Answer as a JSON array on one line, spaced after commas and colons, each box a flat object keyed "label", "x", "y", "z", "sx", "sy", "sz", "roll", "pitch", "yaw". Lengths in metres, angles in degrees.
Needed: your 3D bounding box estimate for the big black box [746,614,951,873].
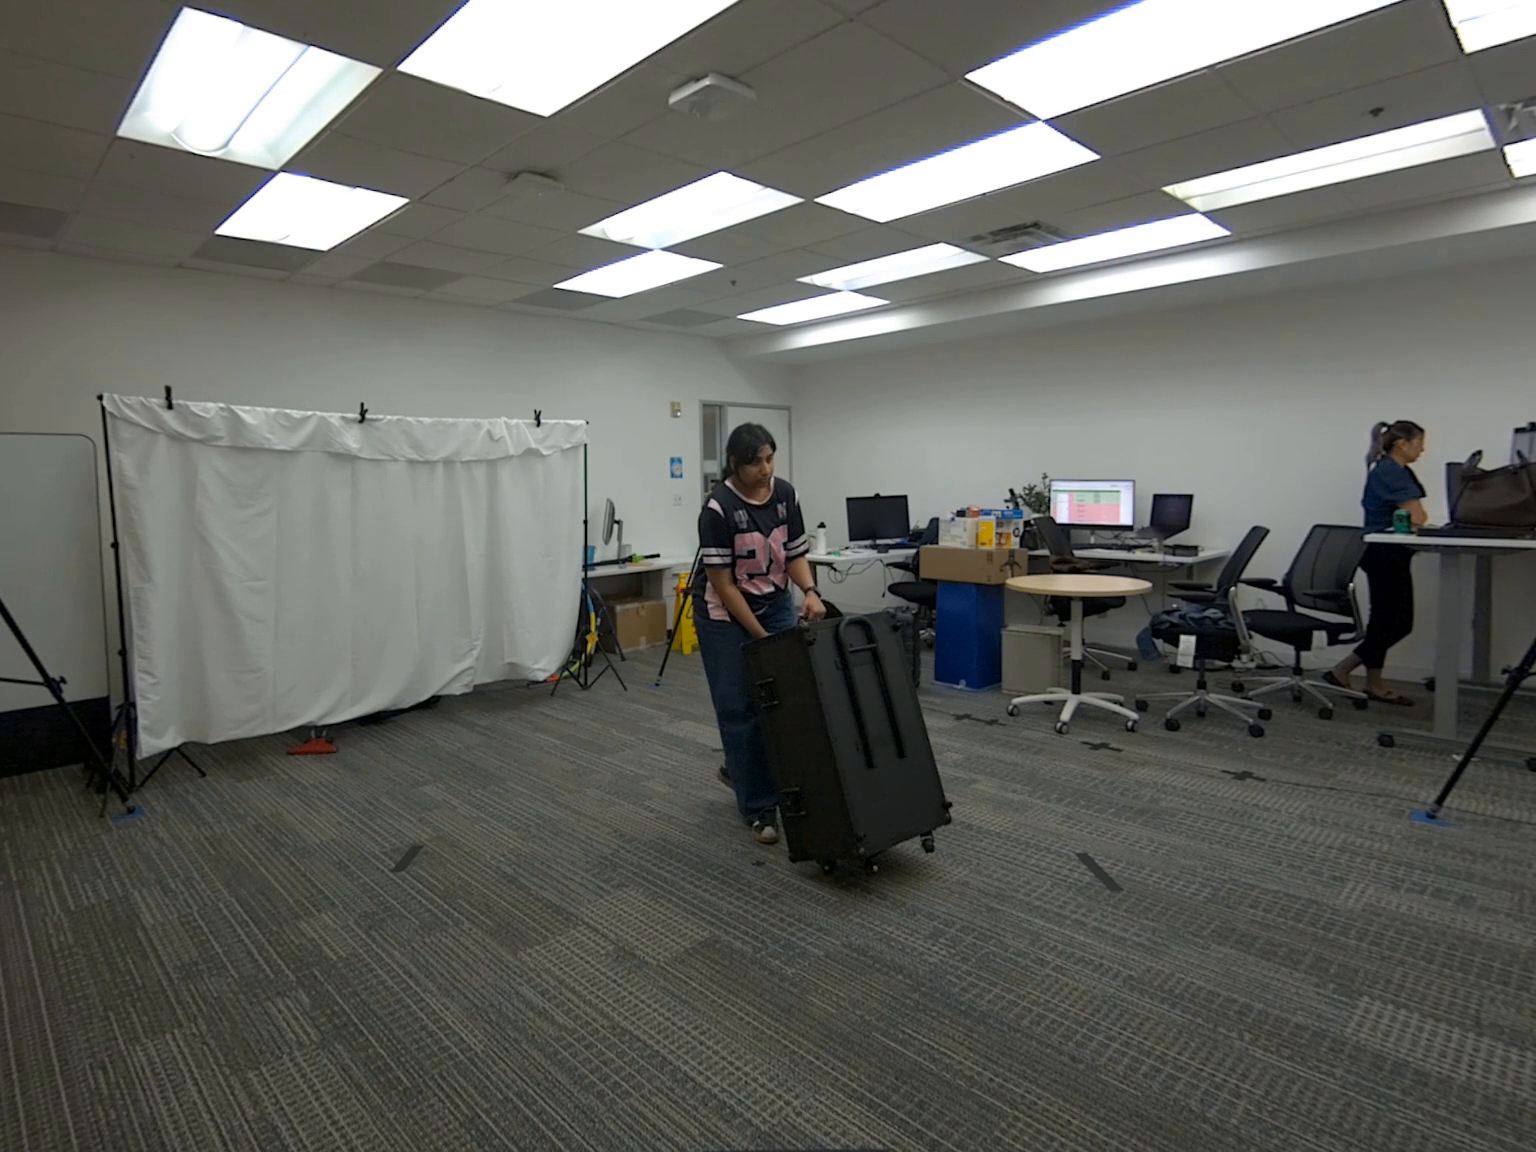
[{"label": "big black box", "x": 0.296, "y": 0.603, "z": 3.102, "sx": 0.509, "sy": 0.880, "sz": 0.390, "roll": -4, "pitch": -15, "yaw": -41}]
